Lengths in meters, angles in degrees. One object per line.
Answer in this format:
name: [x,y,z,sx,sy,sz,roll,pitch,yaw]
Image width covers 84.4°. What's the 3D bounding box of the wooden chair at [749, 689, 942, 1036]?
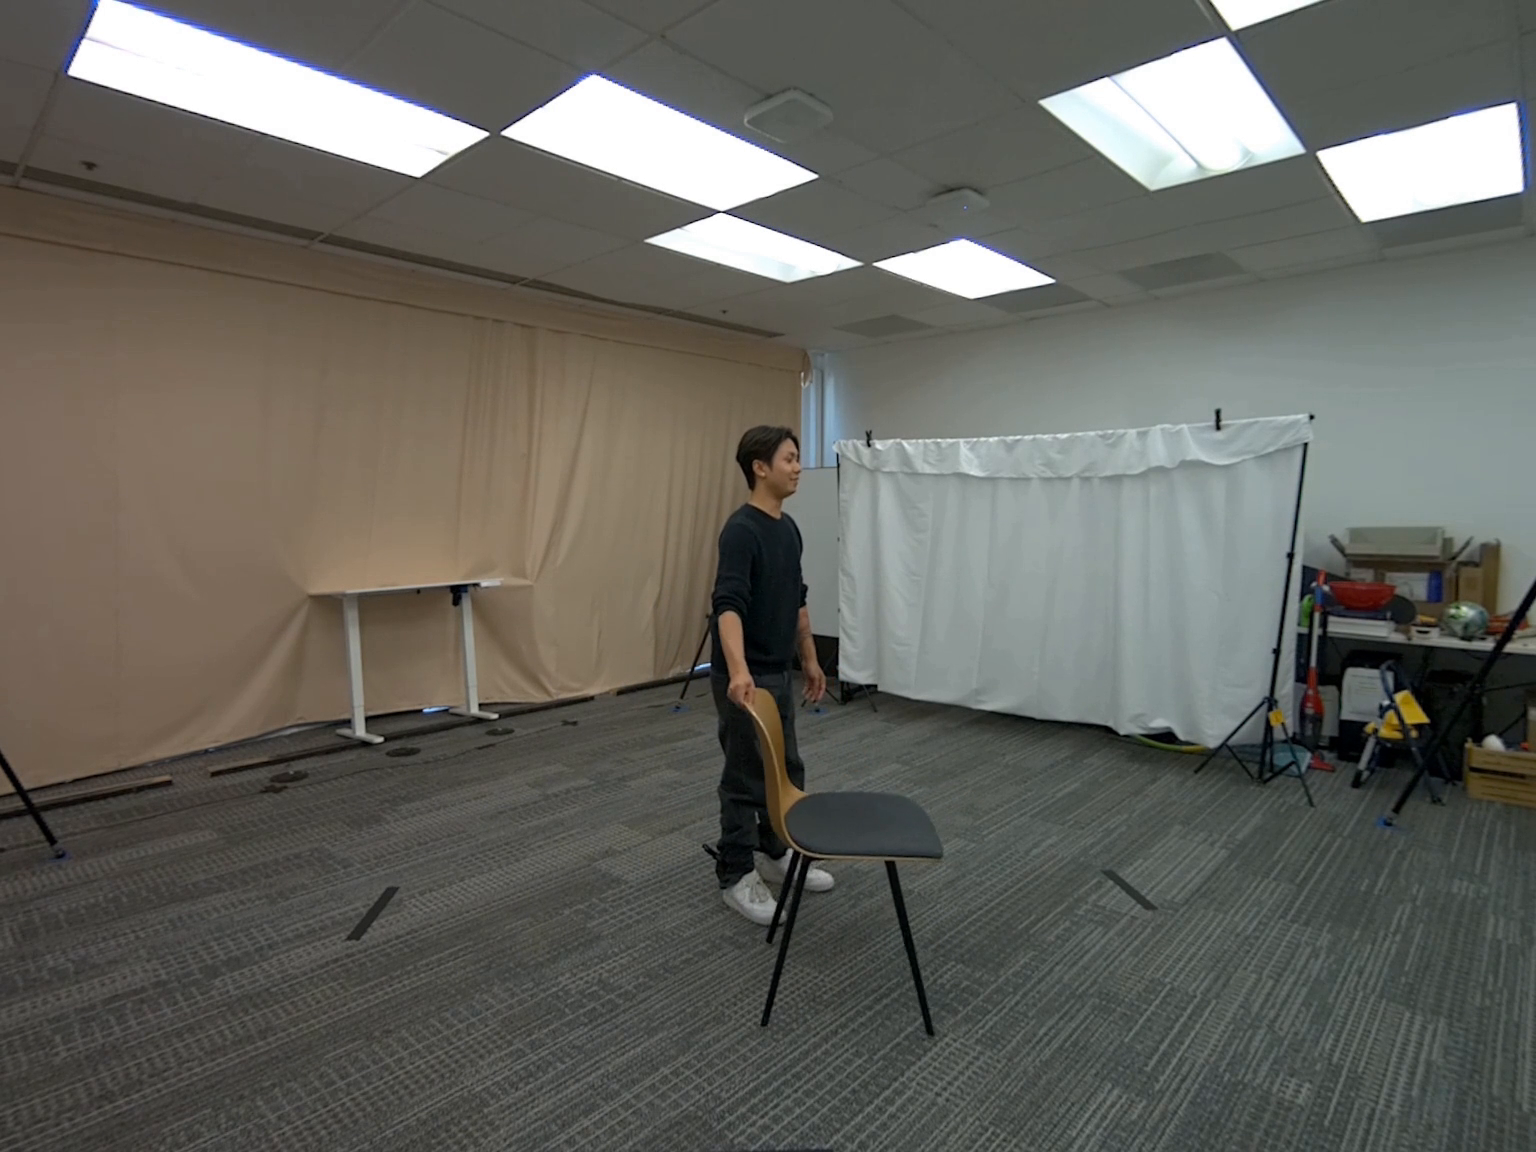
wooden chair: [0.228,0.763,2.424,0.525,0.876,0.477,-4,2,3]
